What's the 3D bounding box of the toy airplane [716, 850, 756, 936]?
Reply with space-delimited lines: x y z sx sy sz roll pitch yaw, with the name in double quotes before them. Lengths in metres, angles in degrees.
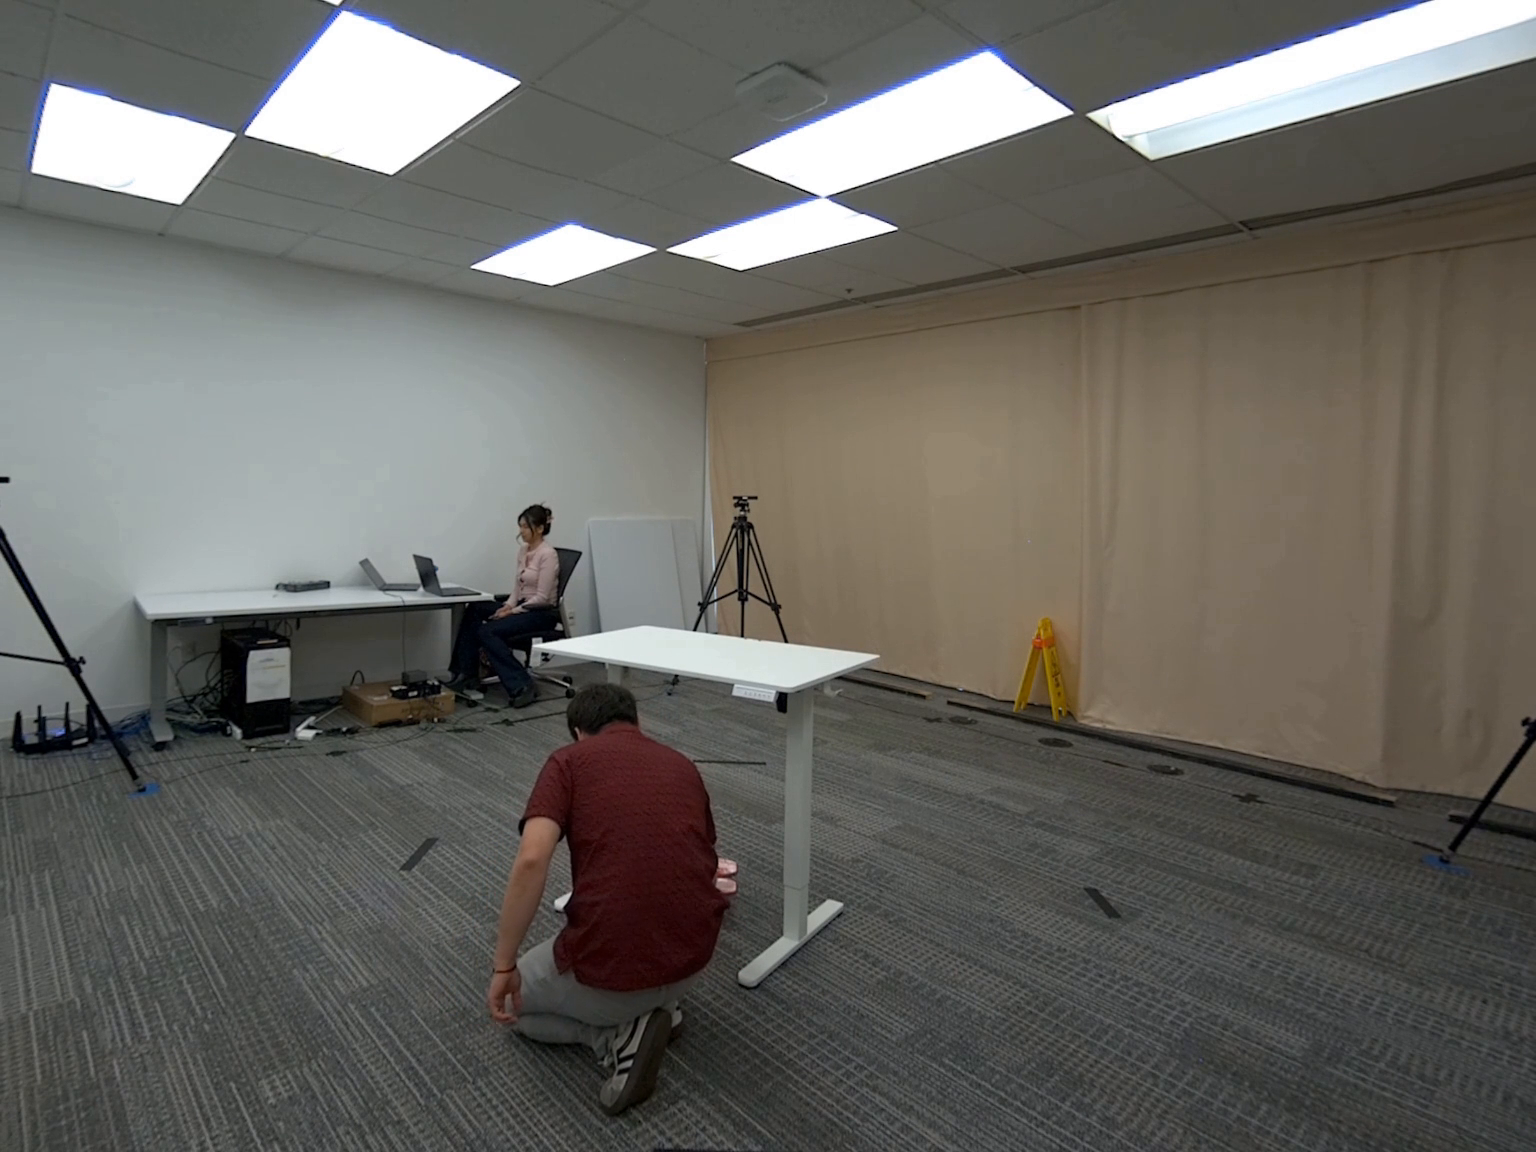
"toy airplane" -0.216 1.060 2.826 0.246 0.156 0.264 -1 4 -26
